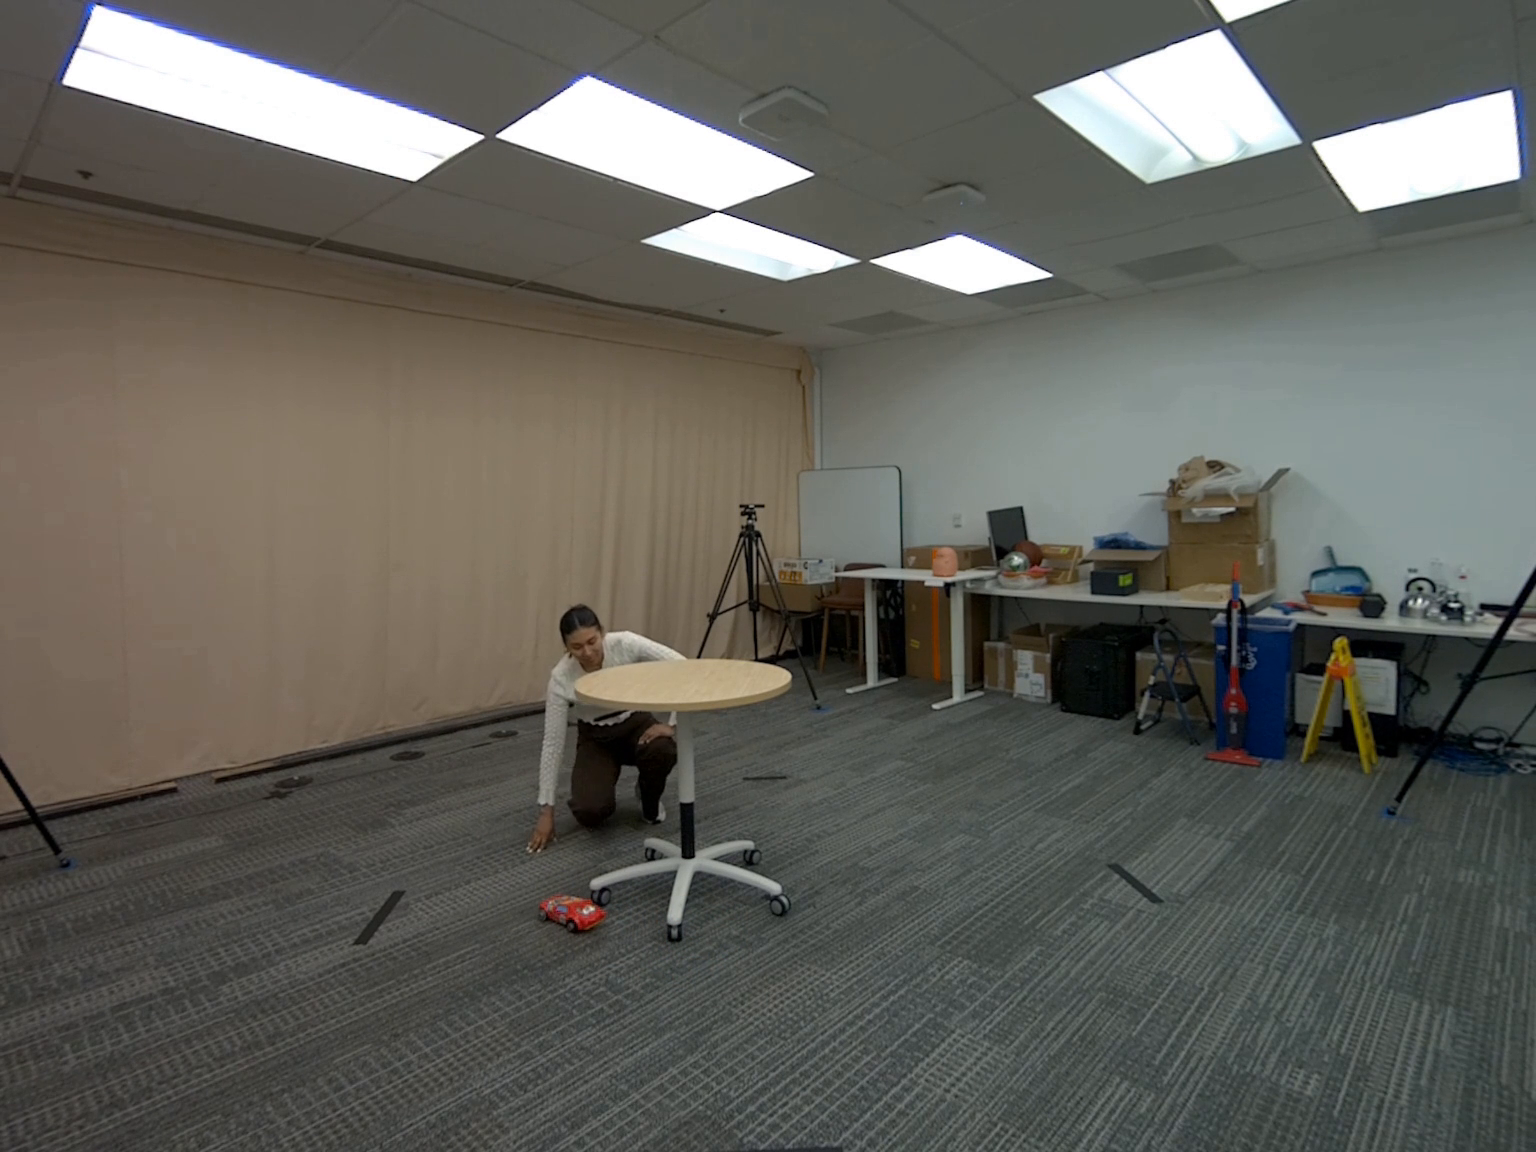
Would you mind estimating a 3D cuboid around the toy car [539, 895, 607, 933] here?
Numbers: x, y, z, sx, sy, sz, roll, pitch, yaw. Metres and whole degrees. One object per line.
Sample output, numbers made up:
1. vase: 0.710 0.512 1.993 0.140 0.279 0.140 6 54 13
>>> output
1. toy car: -0.662 1.133 2.835 0.261 0.083 0.126 -10 -2 36
